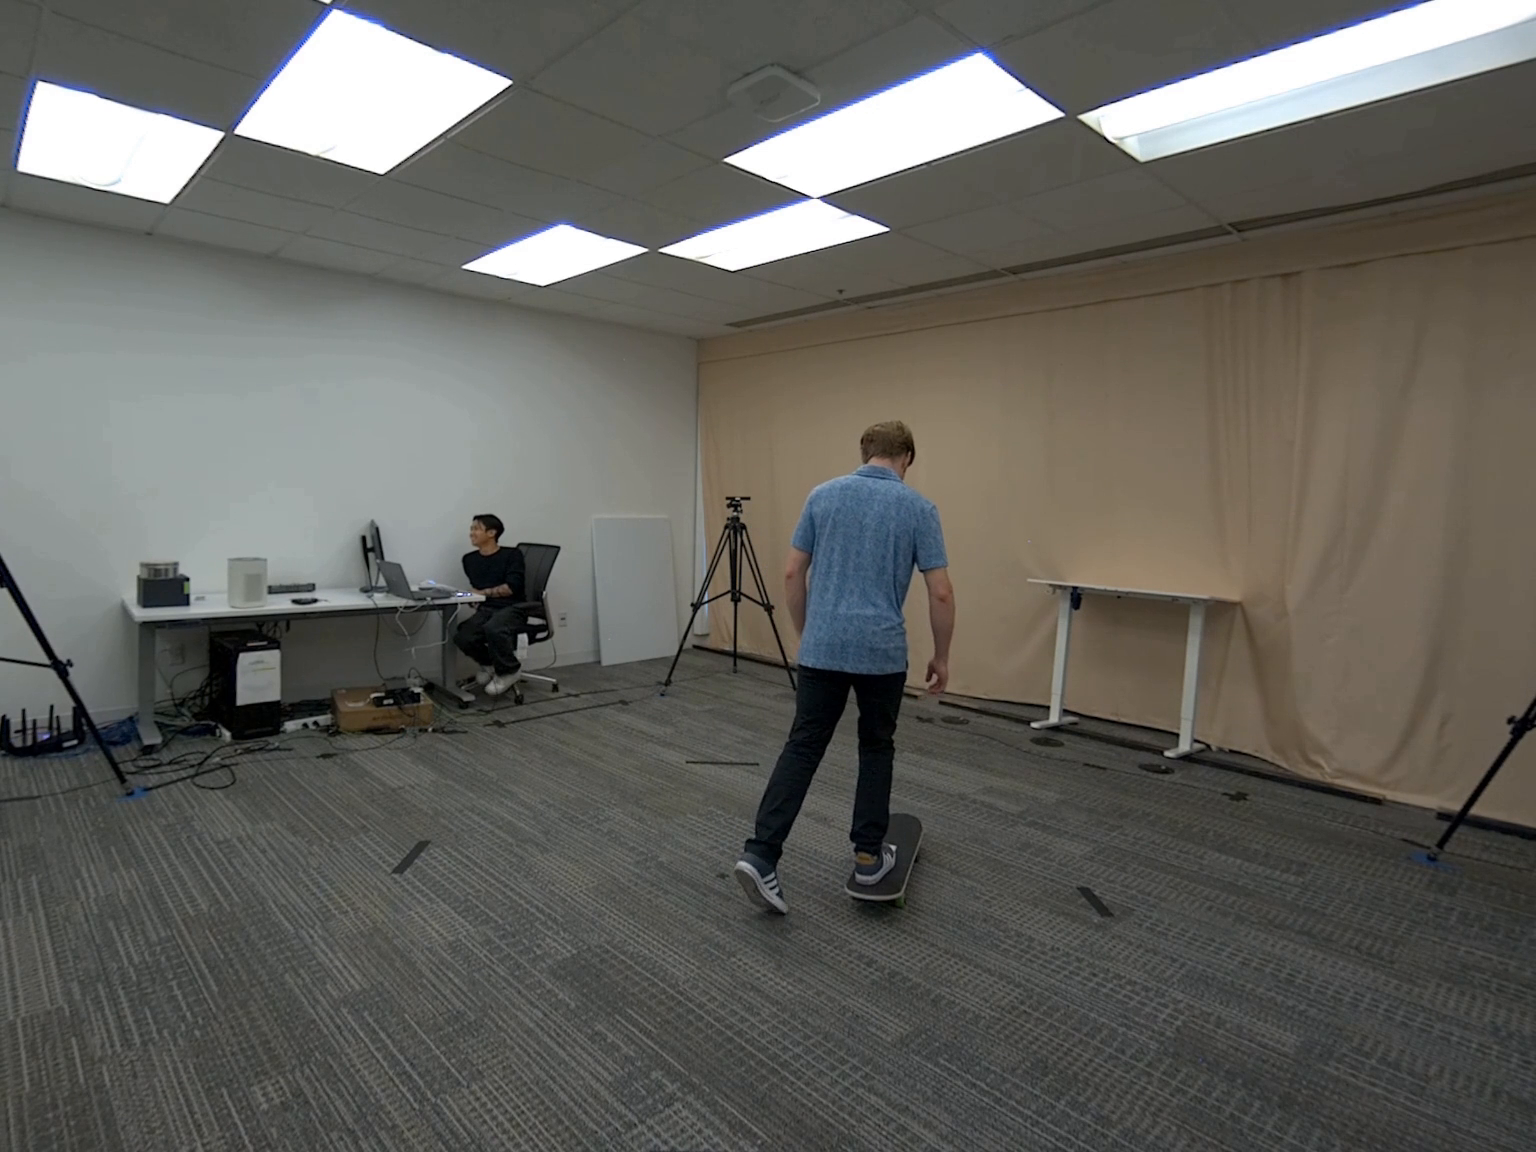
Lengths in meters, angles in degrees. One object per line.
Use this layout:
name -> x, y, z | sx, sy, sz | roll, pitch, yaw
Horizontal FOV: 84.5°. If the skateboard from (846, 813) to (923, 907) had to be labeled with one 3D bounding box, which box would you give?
skateboard -> 0.431, 1.060, 3.115 | 0.196, 0.110, 0.776 | 0, 4, 17
